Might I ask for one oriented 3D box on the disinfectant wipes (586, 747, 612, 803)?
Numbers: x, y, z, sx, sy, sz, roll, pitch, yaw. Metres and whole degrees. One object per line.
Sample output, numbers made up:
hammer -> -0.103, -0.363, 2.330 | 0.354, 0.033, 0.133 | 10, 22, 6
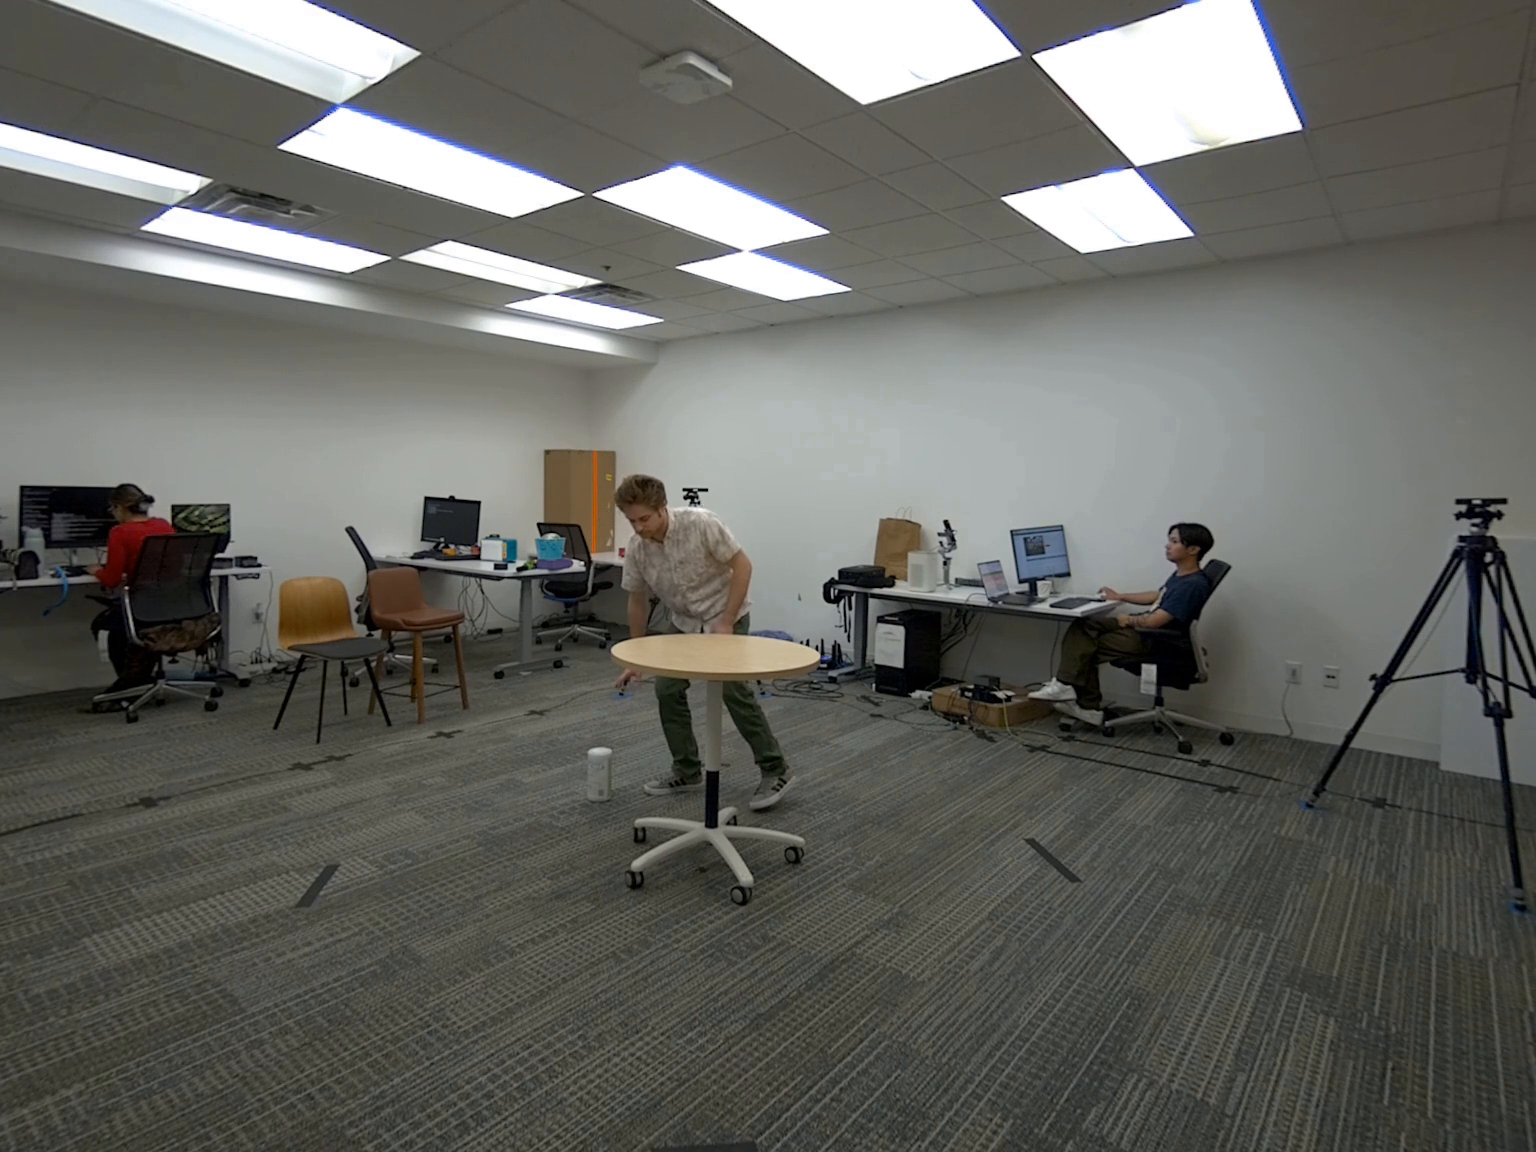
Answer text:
disinfectant wipes -> -0.768, 0.885, 3.809 | 0.117, 0.217, 0.118 | 2, 4, -2
